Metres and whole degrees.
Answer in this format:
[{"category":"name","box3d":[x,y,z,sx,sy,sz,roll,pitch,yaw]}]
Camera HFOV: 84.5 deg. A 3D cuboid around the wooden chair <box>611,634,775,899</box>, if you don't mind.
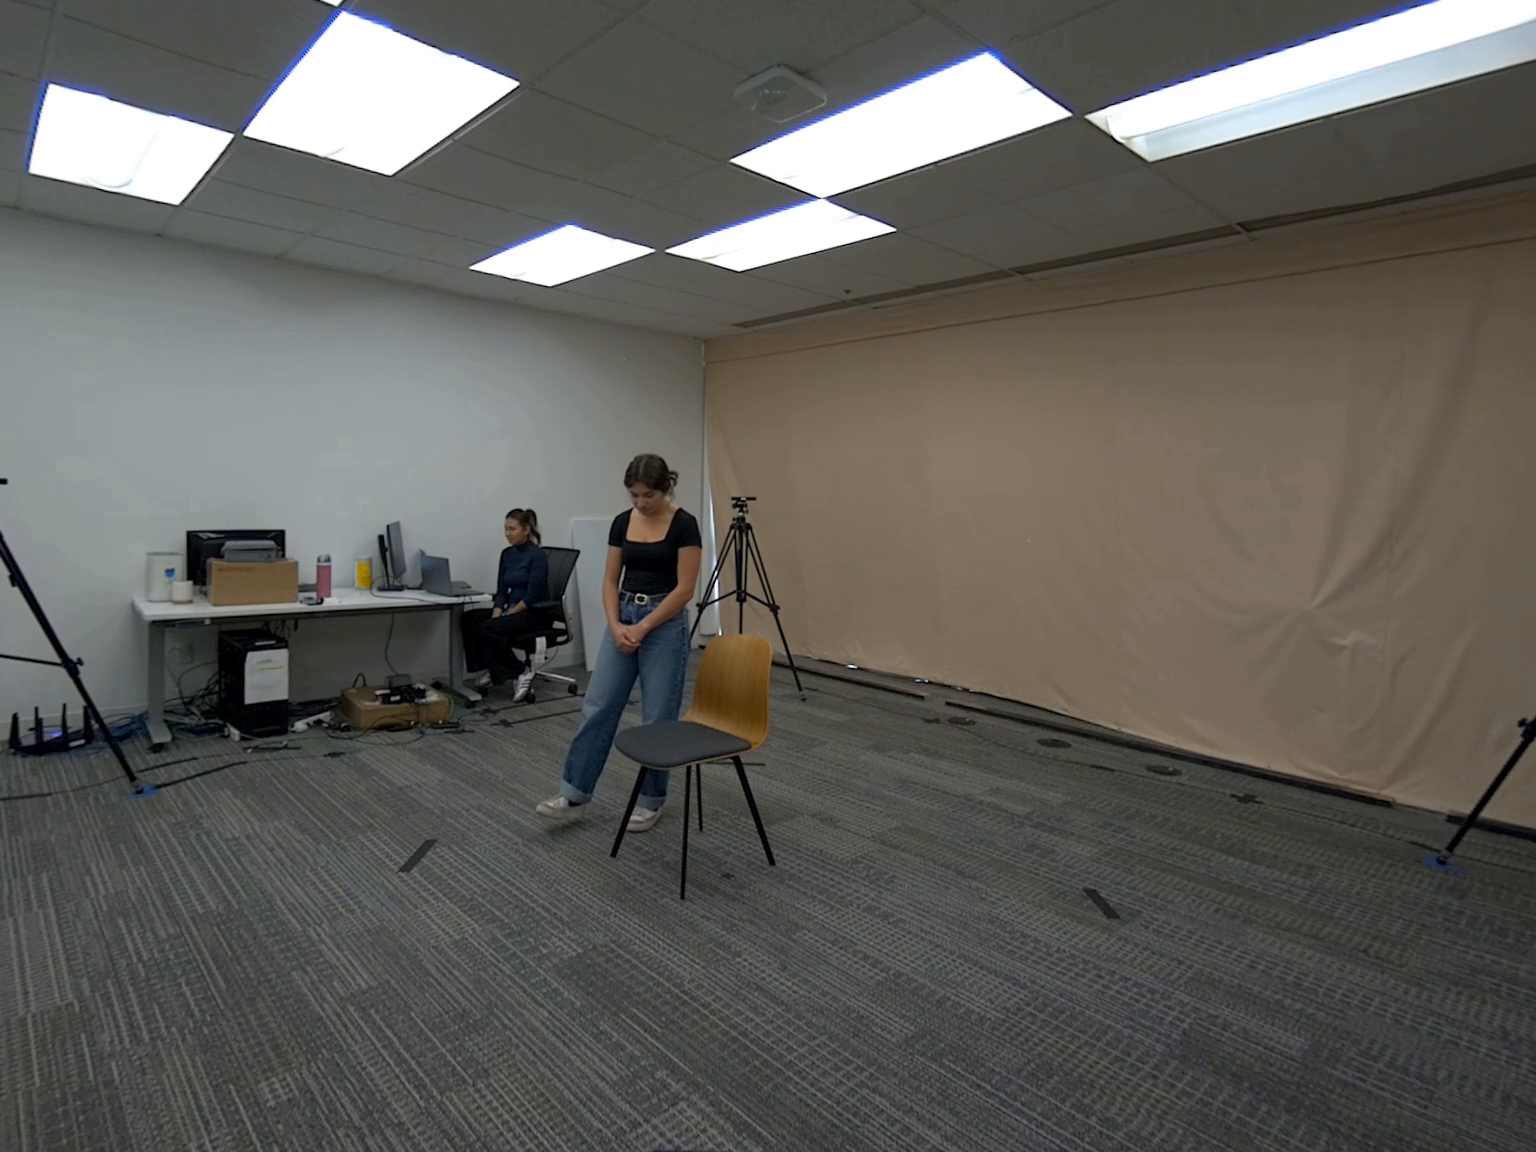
[{"category":"wooden chair","box3d":[-0.287,0.673,3.186,0.510,0.877,0.490,4,0,-43]}]
